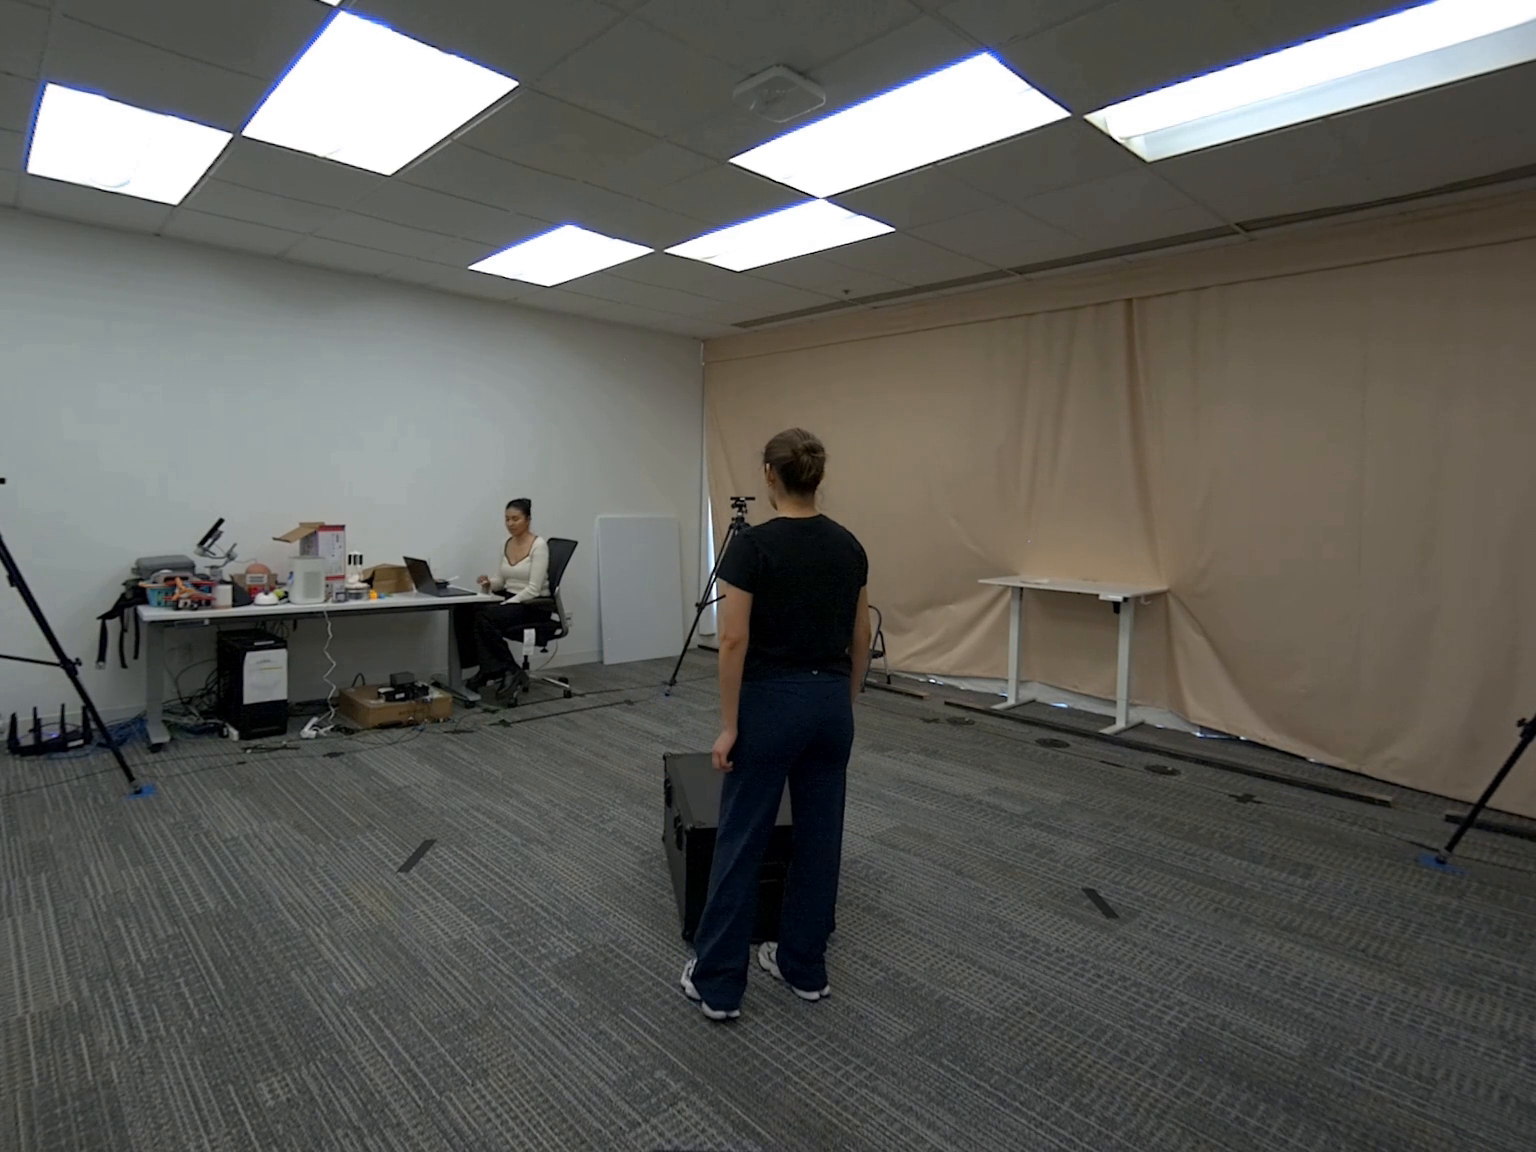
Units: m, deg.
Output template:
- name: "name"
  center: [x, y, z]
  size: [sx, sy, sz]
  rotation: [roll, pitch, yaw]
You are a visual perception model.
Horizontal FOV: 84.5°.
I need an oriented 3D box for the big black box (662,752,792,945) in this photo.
- name: "big black box"
  center: [-0.108, 0.921, 3.016]
  size: [0.516, 0.395, 0.872]
  rotation: [1, 5, -12]
